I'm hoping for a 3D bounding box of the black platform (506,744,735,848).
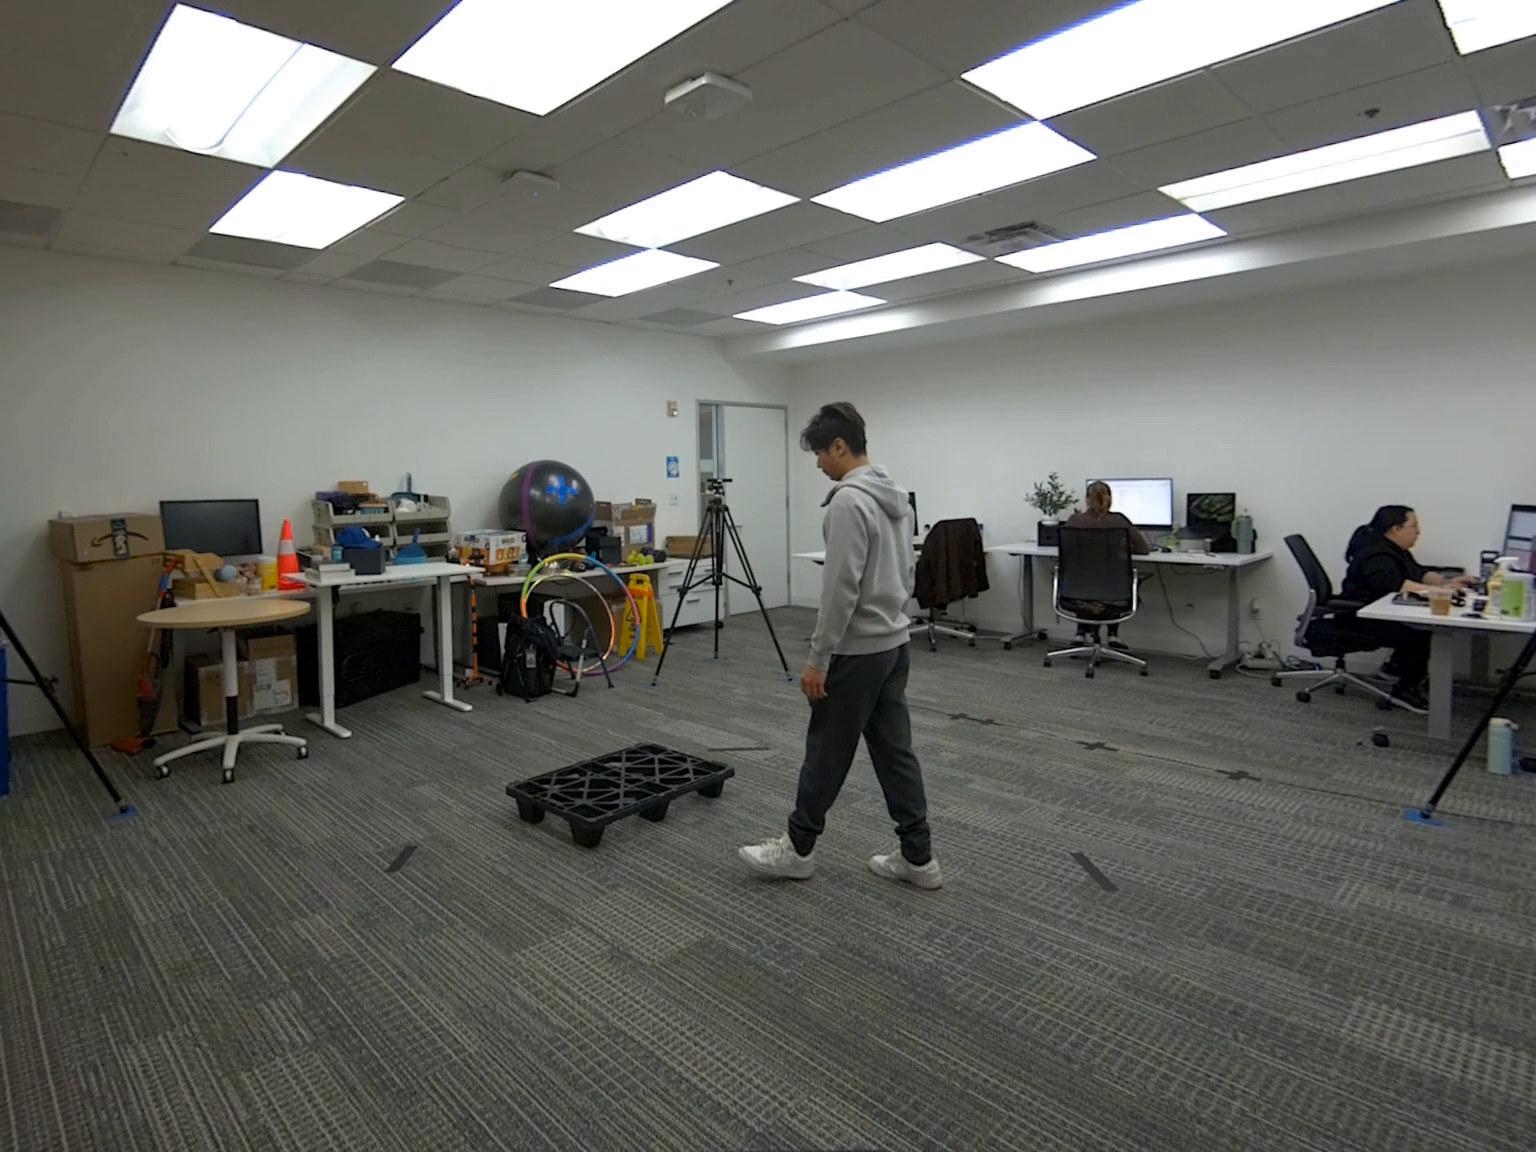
[{"bbox_3d":[-0.614,0.925,3.672,0.624,0.142,0.785,5,9,42],"label":"black platform"}]
